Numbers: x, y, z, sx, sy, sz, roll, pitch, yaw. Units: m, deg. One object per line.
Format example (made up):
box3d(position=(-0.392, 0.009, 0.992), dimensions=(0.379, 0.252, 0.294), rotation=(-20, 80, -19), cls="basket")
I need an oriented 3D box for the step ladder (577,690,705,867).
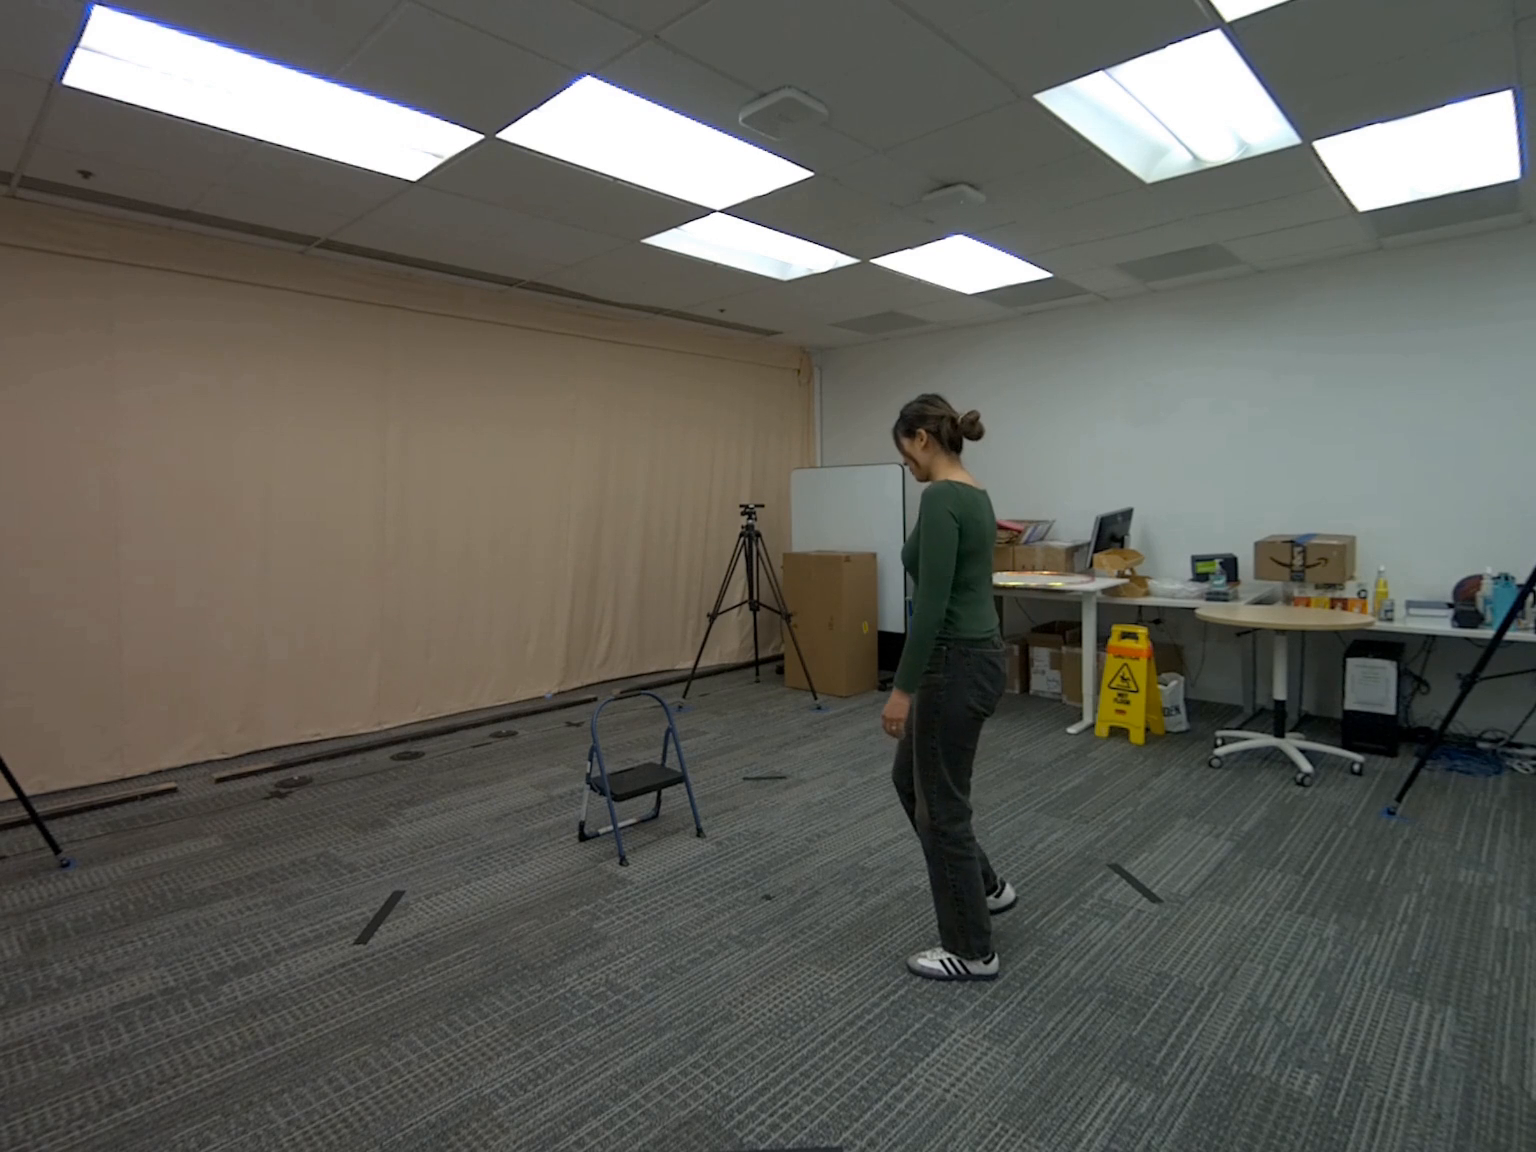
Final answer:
box3d(position=(-0.534, 0.802, 3.522), dimensions=(0.417, 0.605, 0.361), rotation=(-4, 4, -43), cls="step ladder")
